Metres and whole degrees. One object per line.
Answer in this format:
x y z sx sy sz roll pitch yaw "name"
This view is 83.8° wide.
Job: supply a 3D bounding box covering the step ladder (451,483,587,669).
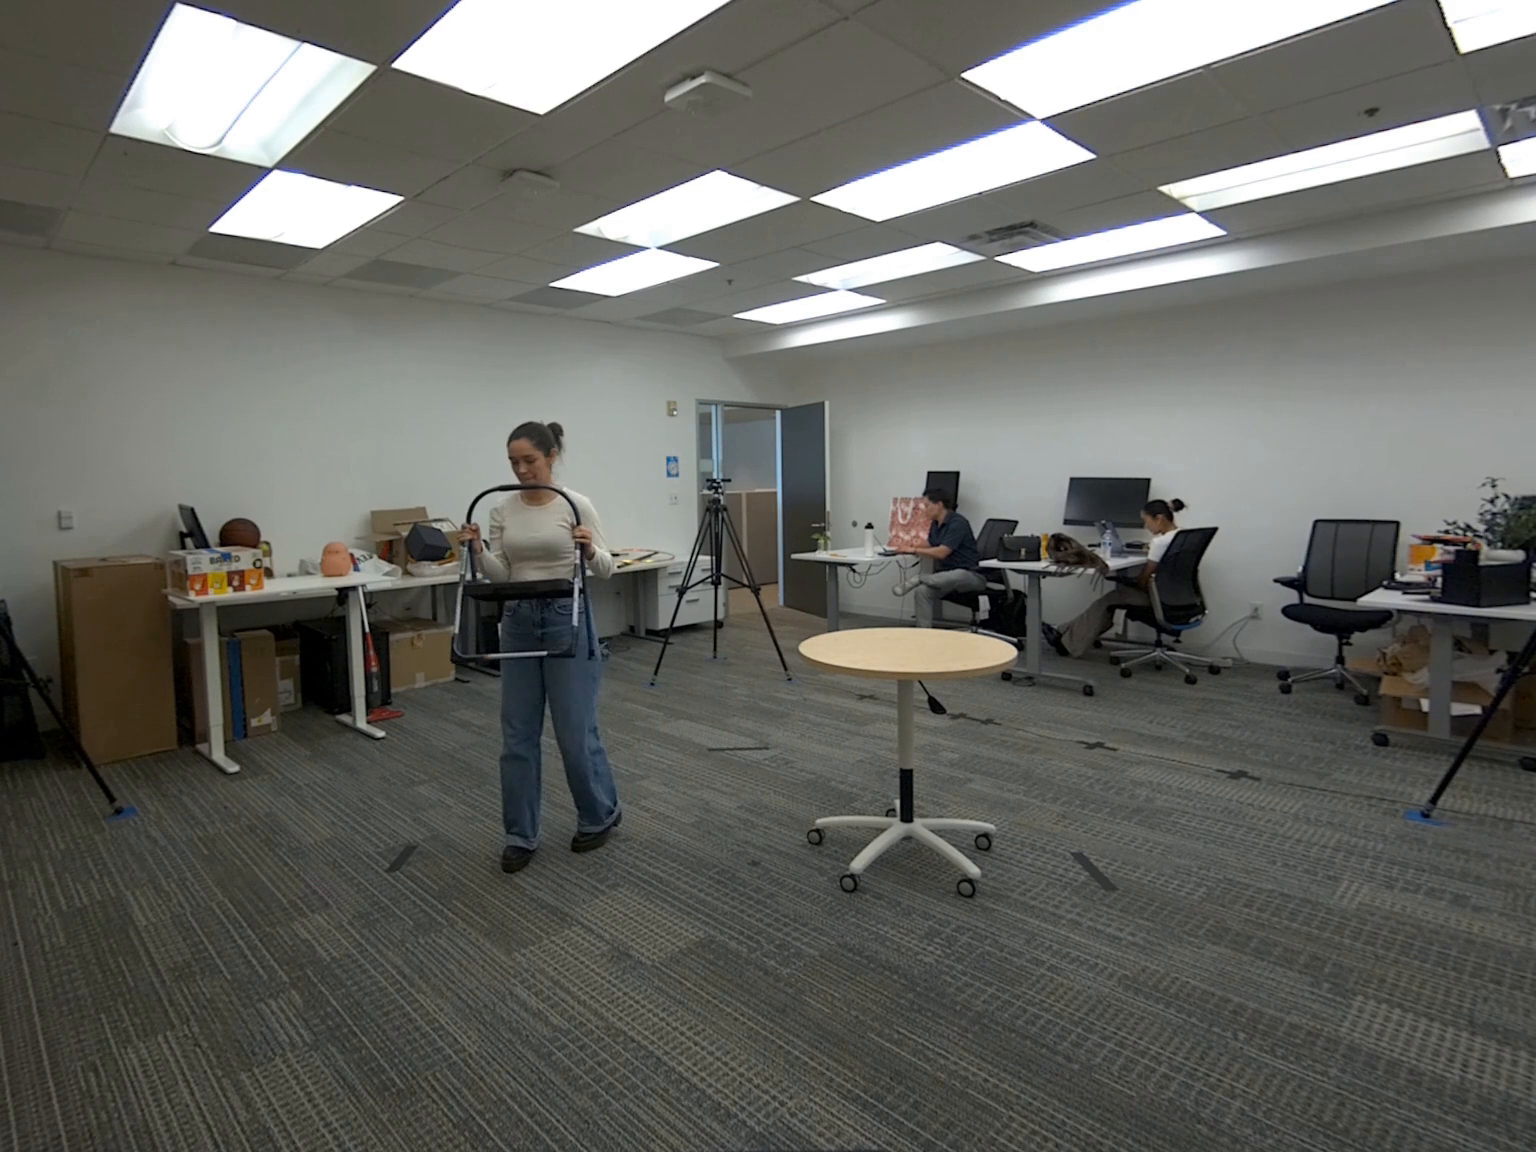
-0.844 -0.004 2.982 0.431 0.611 0.346 -3 -8 2 "step ladder"
